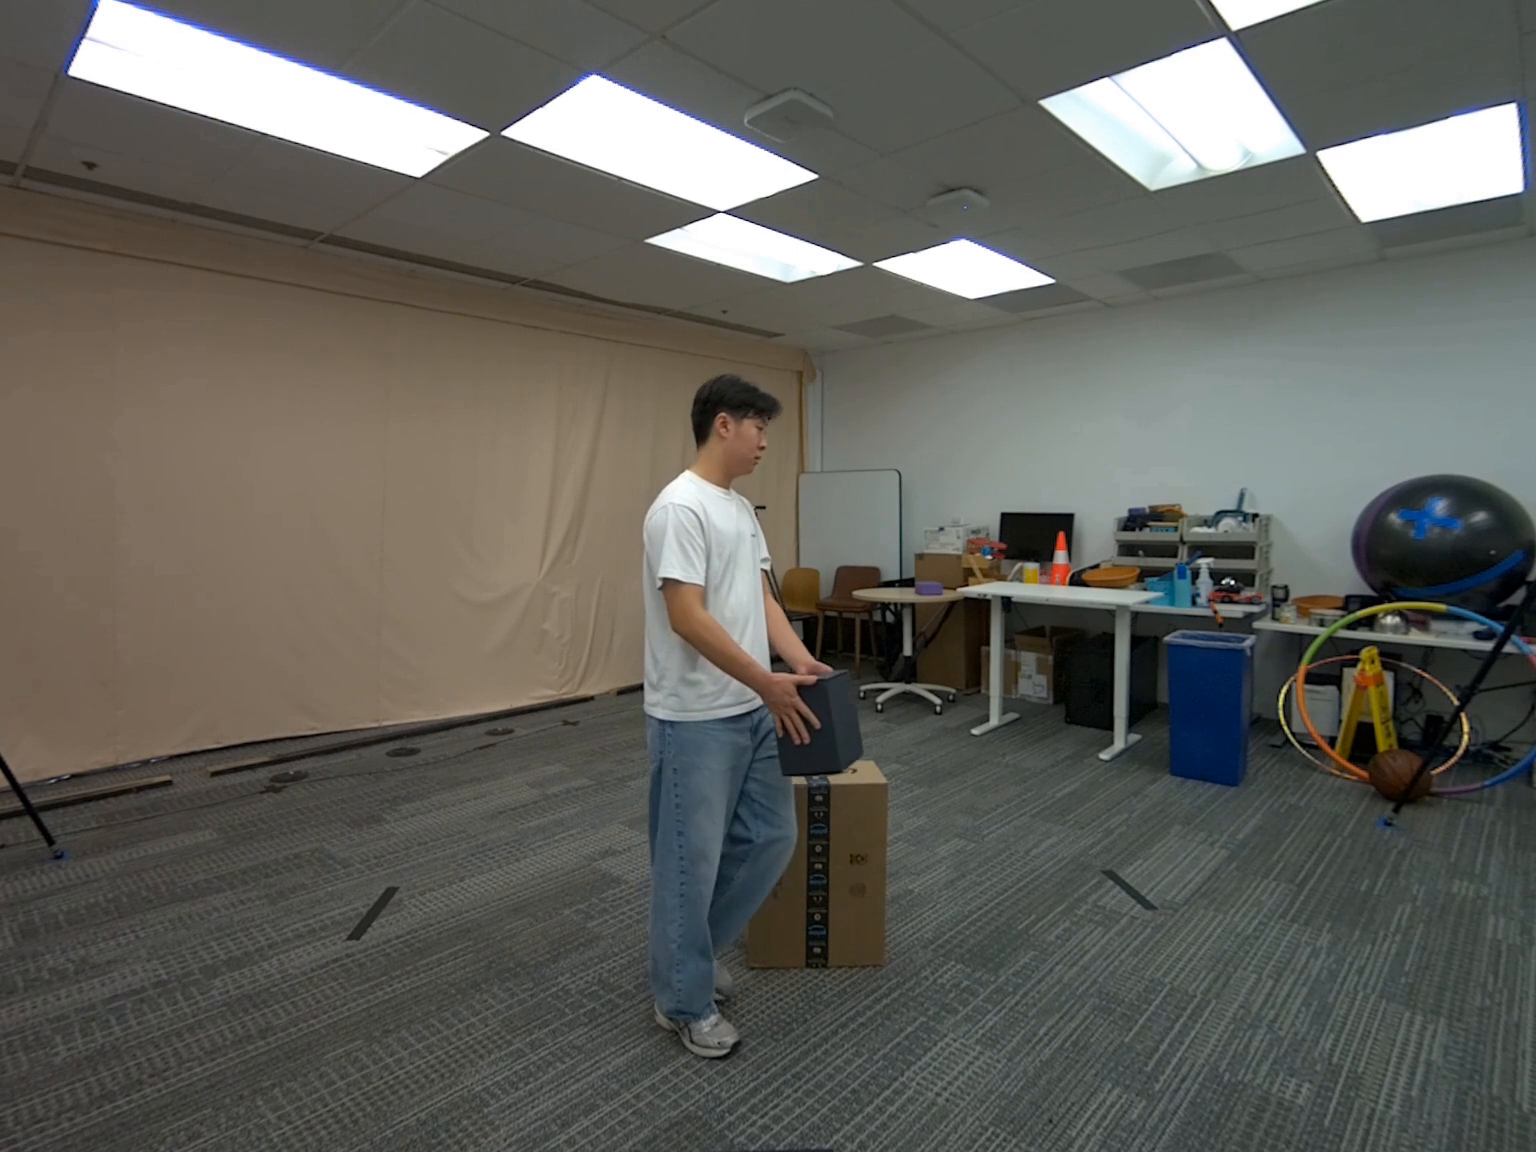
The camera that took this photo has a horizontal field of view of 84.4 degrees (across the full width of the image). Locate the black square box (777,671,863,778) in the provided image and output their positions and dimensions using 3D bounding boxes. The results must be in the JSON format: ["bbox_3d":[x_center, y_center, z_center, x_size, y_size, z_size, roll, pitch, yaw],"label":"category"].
[{"bbox_3d":[0.129,0.377,2.170,0.159,0.228,0.212,-10,-3,22],"label":"black square box"}]
